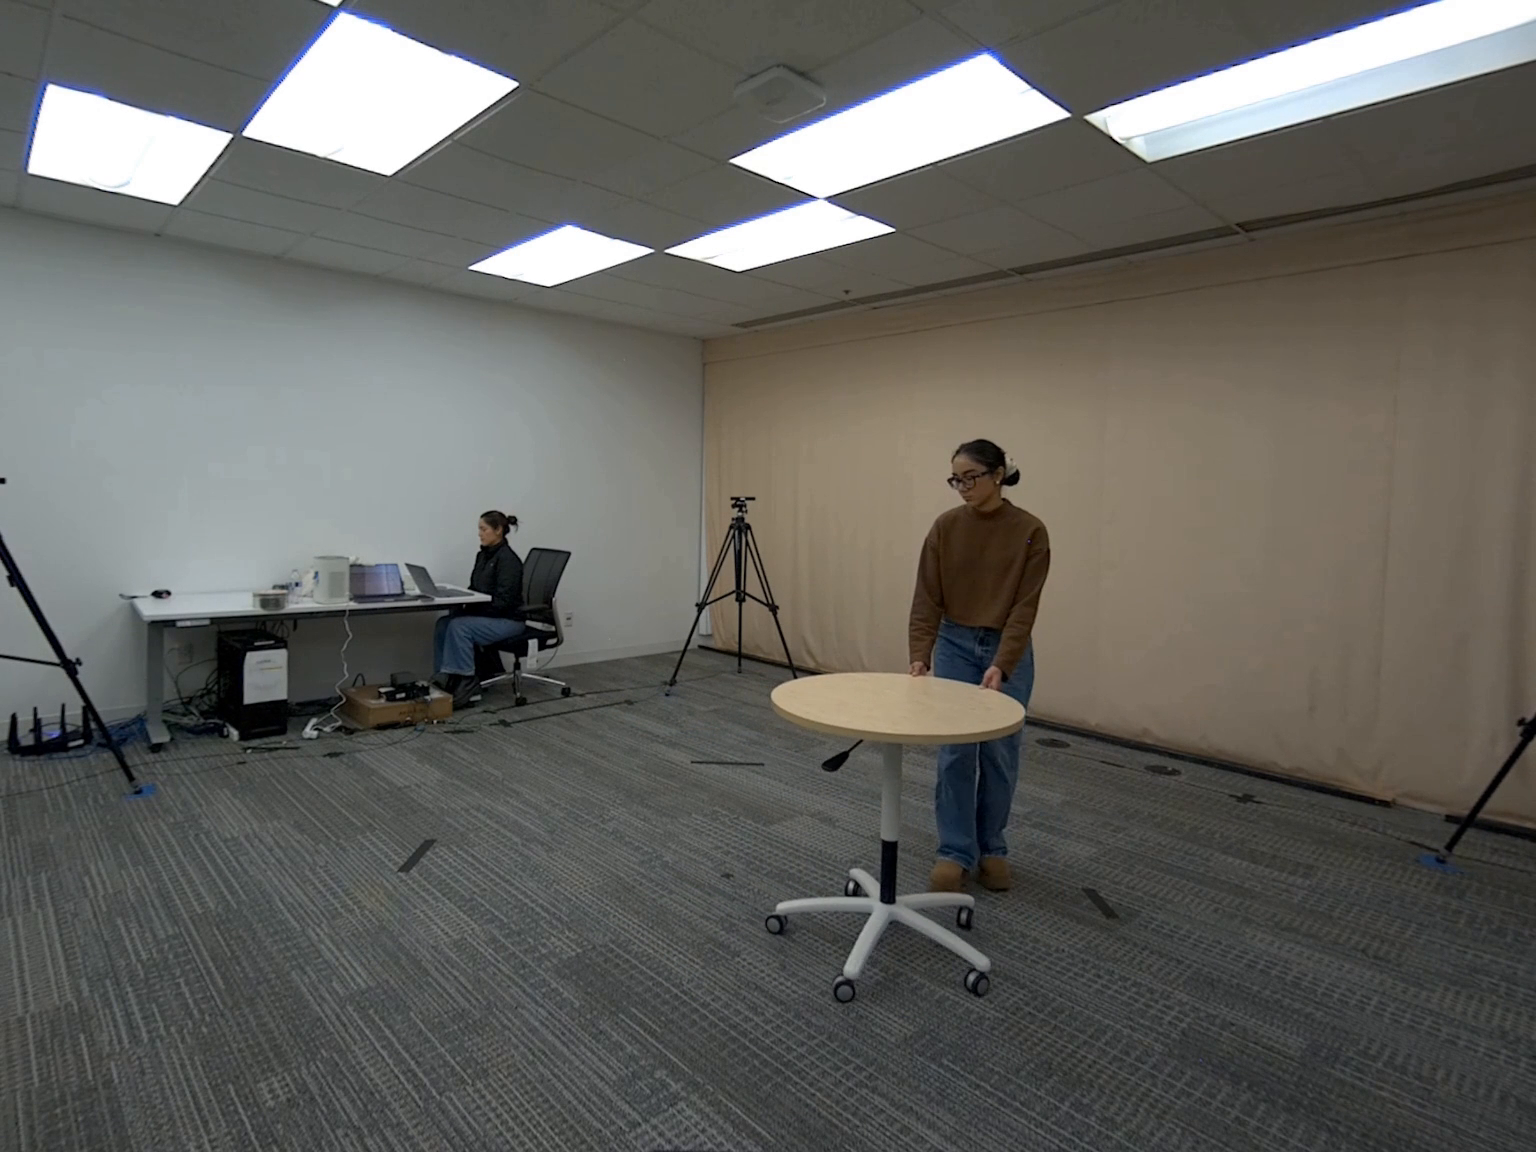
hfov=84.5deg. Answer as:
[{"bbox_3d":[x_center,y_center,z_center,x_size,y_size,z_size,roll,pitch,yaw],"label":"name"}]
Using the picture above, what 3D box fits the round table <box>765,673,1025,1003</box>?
[{"bbox_3d":[0.375,0.775,2.629,0.763,0.792,0.767,2,4,-1],"label":"round table"}]
